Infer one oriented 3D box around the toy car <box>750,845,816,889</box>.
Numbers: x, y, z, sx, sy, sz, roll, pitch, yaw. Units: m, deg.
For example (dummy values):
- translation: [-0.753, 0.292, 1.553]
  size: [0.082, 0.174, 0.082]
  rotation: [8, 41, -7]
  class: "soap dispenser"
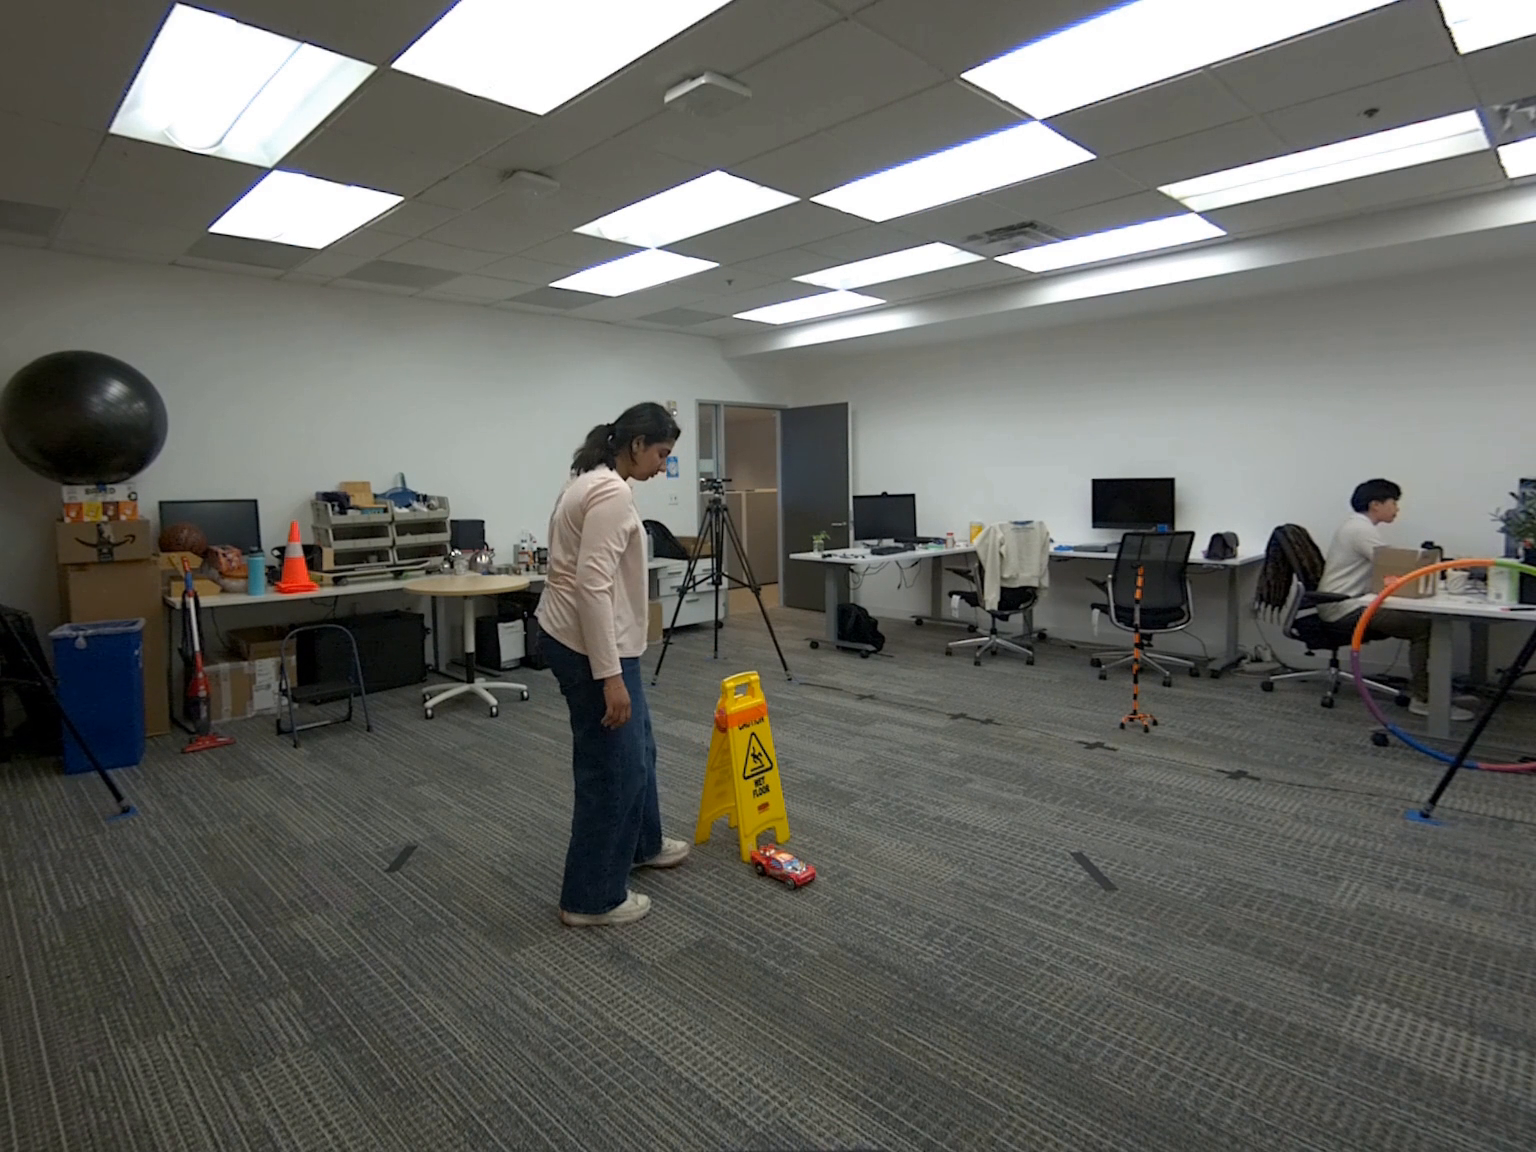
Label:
- translation: [0.044, 1.019, 3.003]
  size: [0.127, 0.082, 0.264]
  rotation: [-6, 18, -42]
  class: "toy car"
